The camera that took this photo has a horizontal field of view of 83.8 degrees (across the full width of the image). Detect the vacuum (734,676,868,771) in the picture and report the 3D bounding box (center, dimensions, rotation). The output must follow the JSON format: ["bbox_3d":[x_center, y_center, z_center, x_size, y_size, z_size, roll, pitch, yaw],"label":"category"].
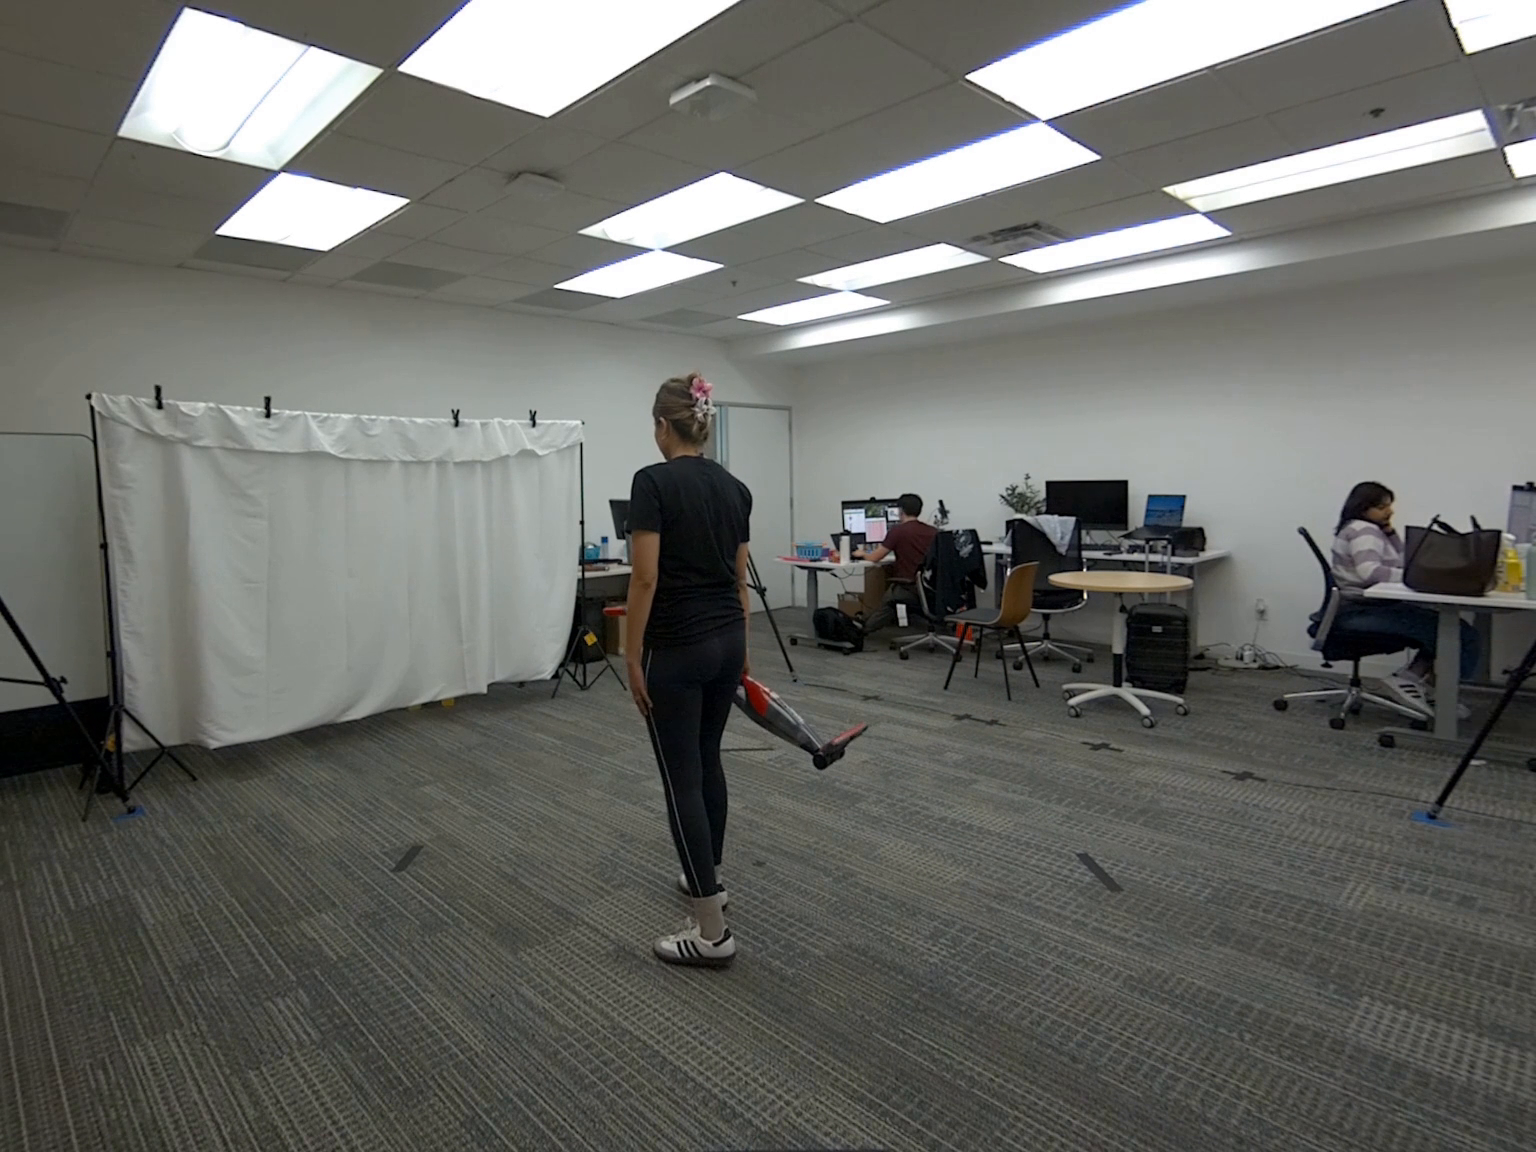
[{"bbox_3d":[-0.186,0.339,2.987,1.084,0.143,0.246,26,18,29],"label":"vacuum"}]
